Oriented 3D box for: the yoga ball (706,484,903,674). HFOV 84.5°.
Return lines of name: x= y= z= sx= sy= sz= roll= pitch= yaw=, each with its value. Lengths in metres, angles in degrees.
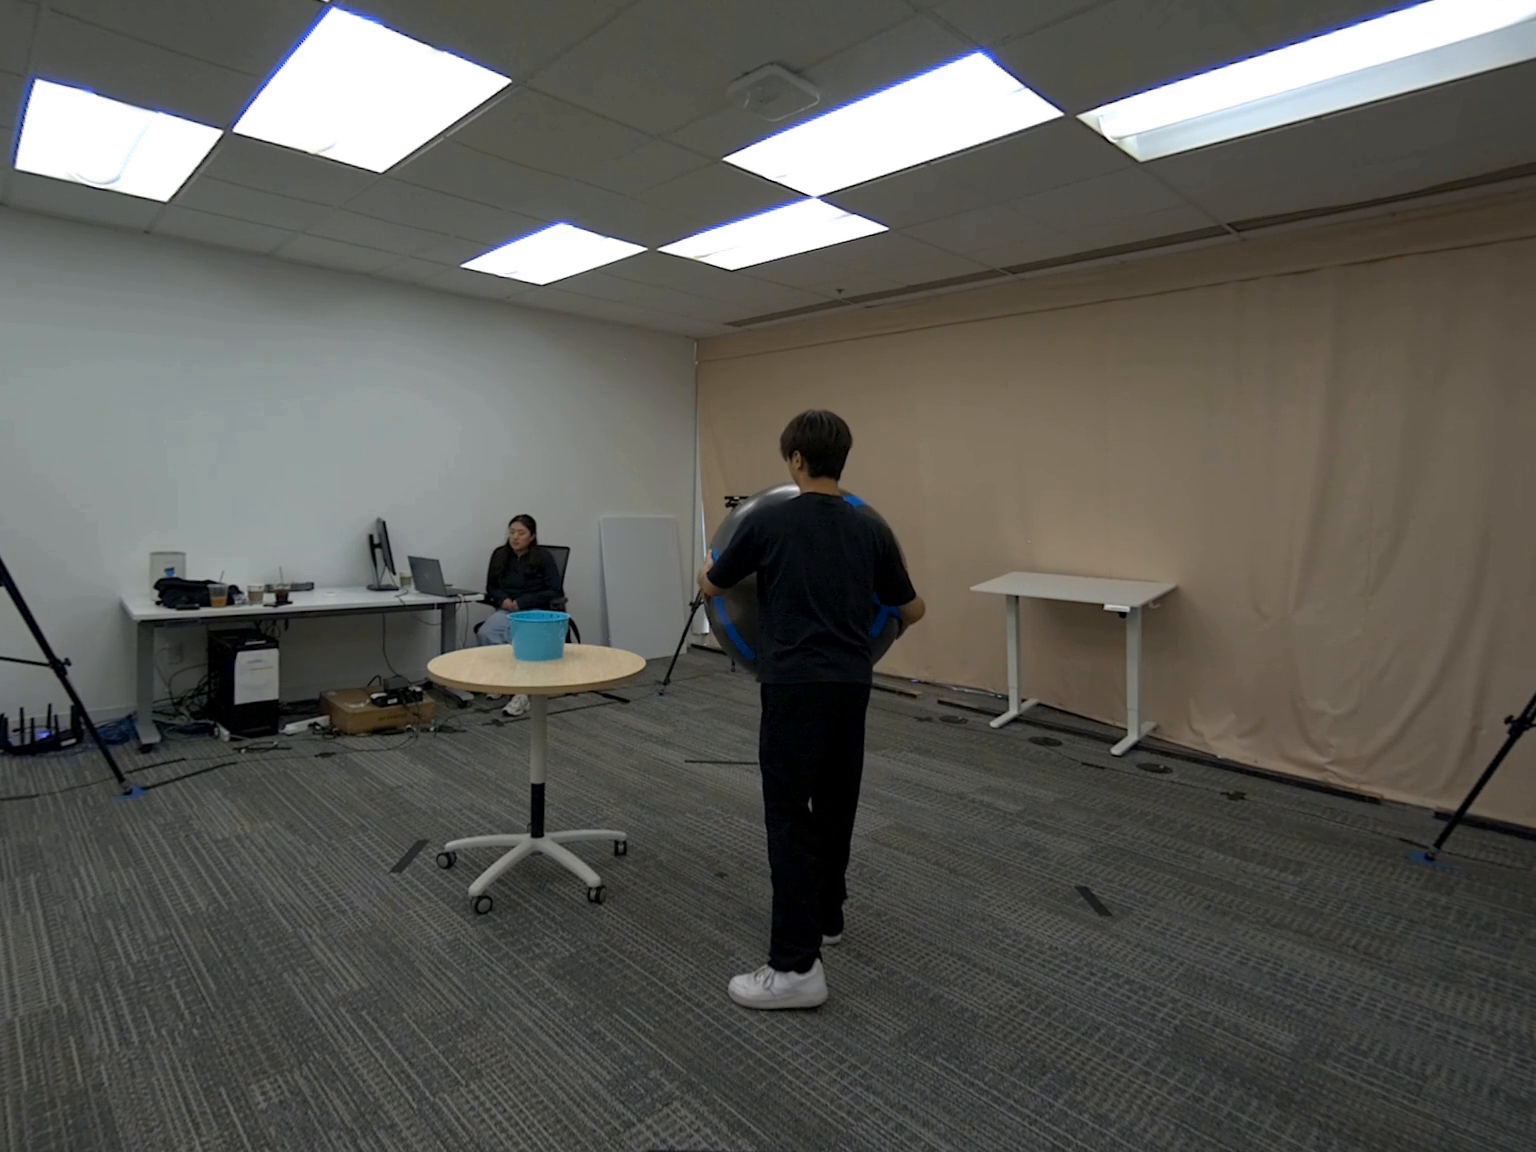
yoga ball: x=0.136 y=0.044 z=3.093 sx=0.757 sy=0.756 sz=0.761 roll=1 pitch=4 yaw=-1
